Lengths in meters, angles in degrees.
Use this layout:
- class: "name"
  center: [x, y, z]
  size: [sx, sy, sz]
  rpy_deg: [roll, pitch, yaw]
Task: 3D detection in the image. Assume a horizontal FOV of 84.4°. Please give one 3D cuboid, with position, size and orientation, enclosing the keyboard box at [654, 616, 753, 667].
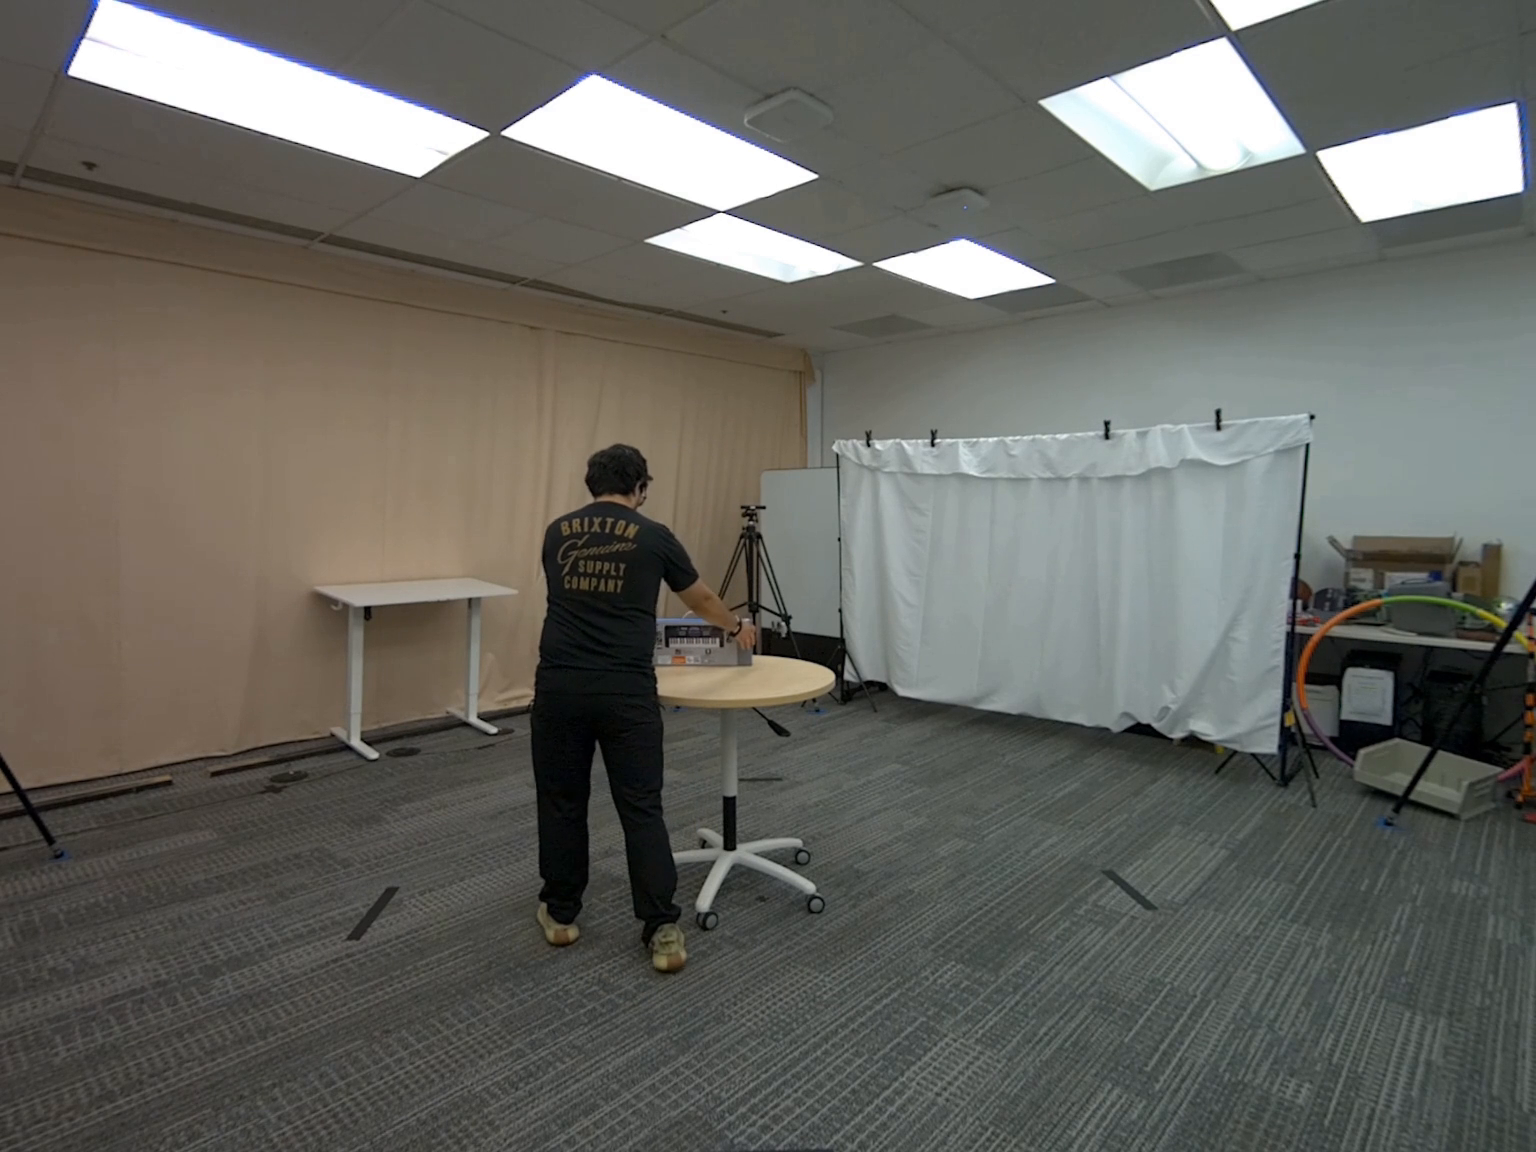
- class: "keyboard box"
  center: [-0.278, 0.253, 3.224]
  size: [0.438, 0.176, 0.059]
  rpy_deg: [0, 2, 4]
